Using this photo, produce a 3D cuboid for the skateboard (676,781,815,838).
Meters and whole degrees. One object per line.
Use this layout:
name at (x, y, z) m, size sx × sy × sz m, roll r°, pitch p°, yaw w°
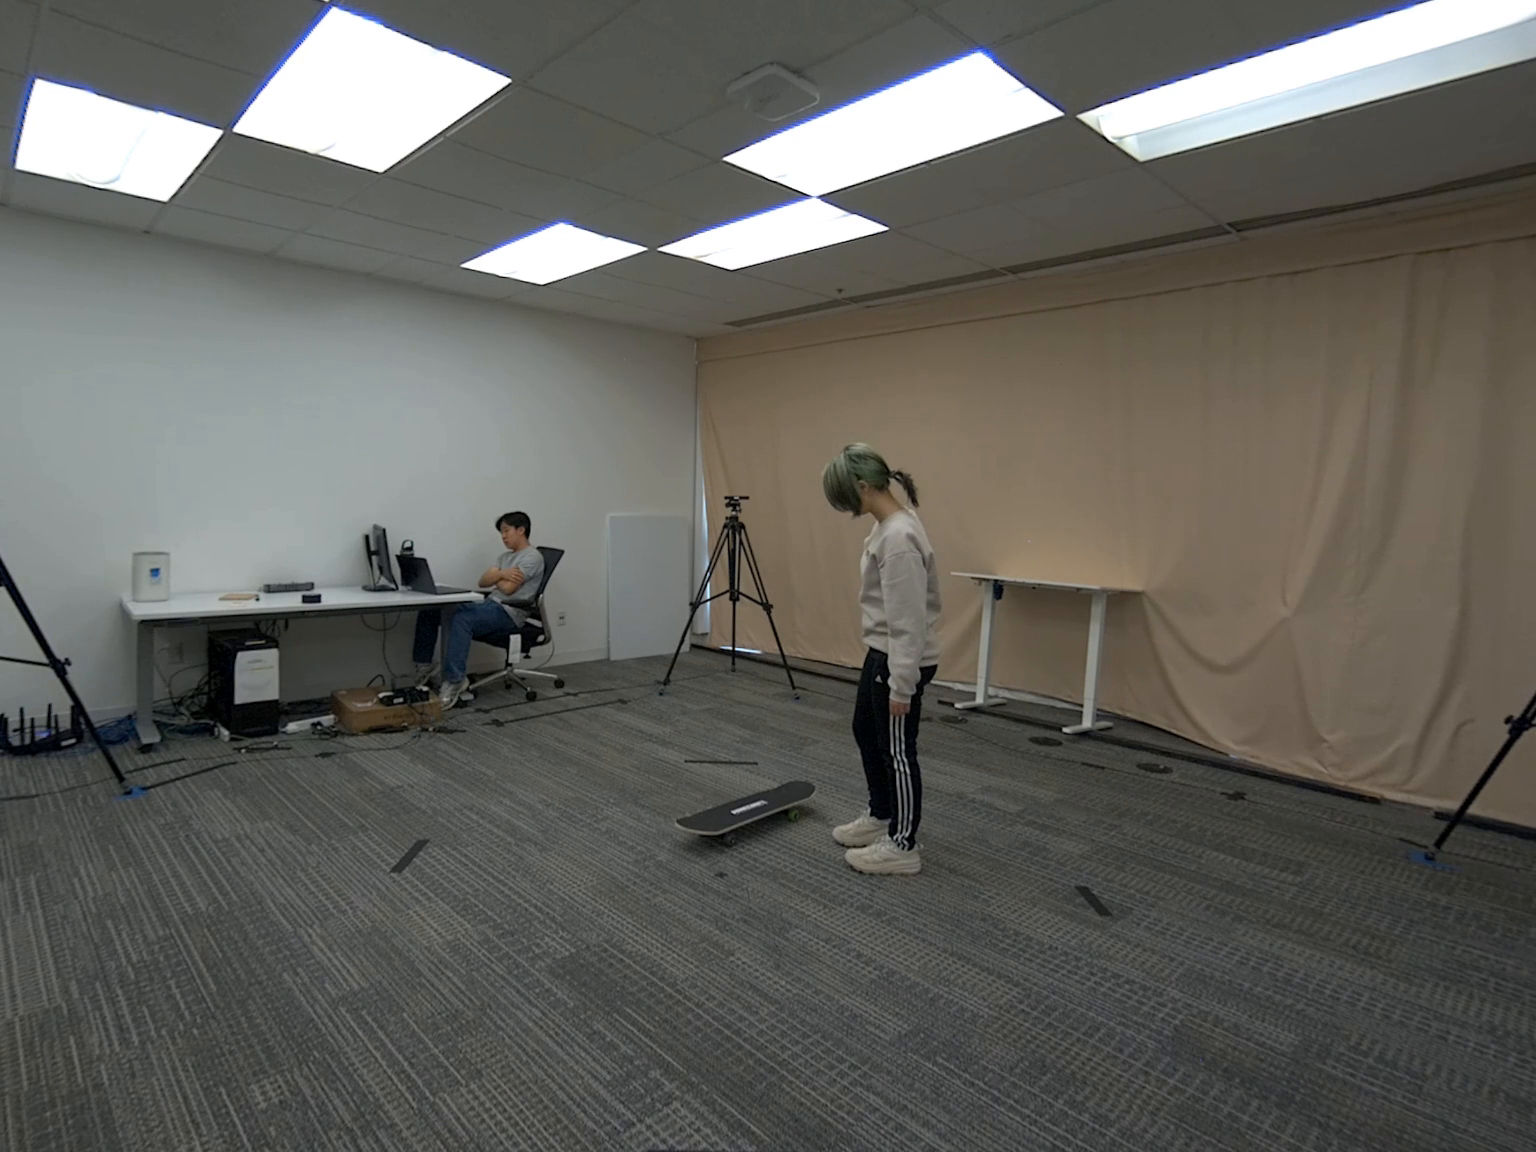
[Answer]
skateboard at (-0.087, 1.008, 3.555) m, size 0.198 × 0.110 × 0.768 m, roll 6°, pitch 7°, yaw 42°
